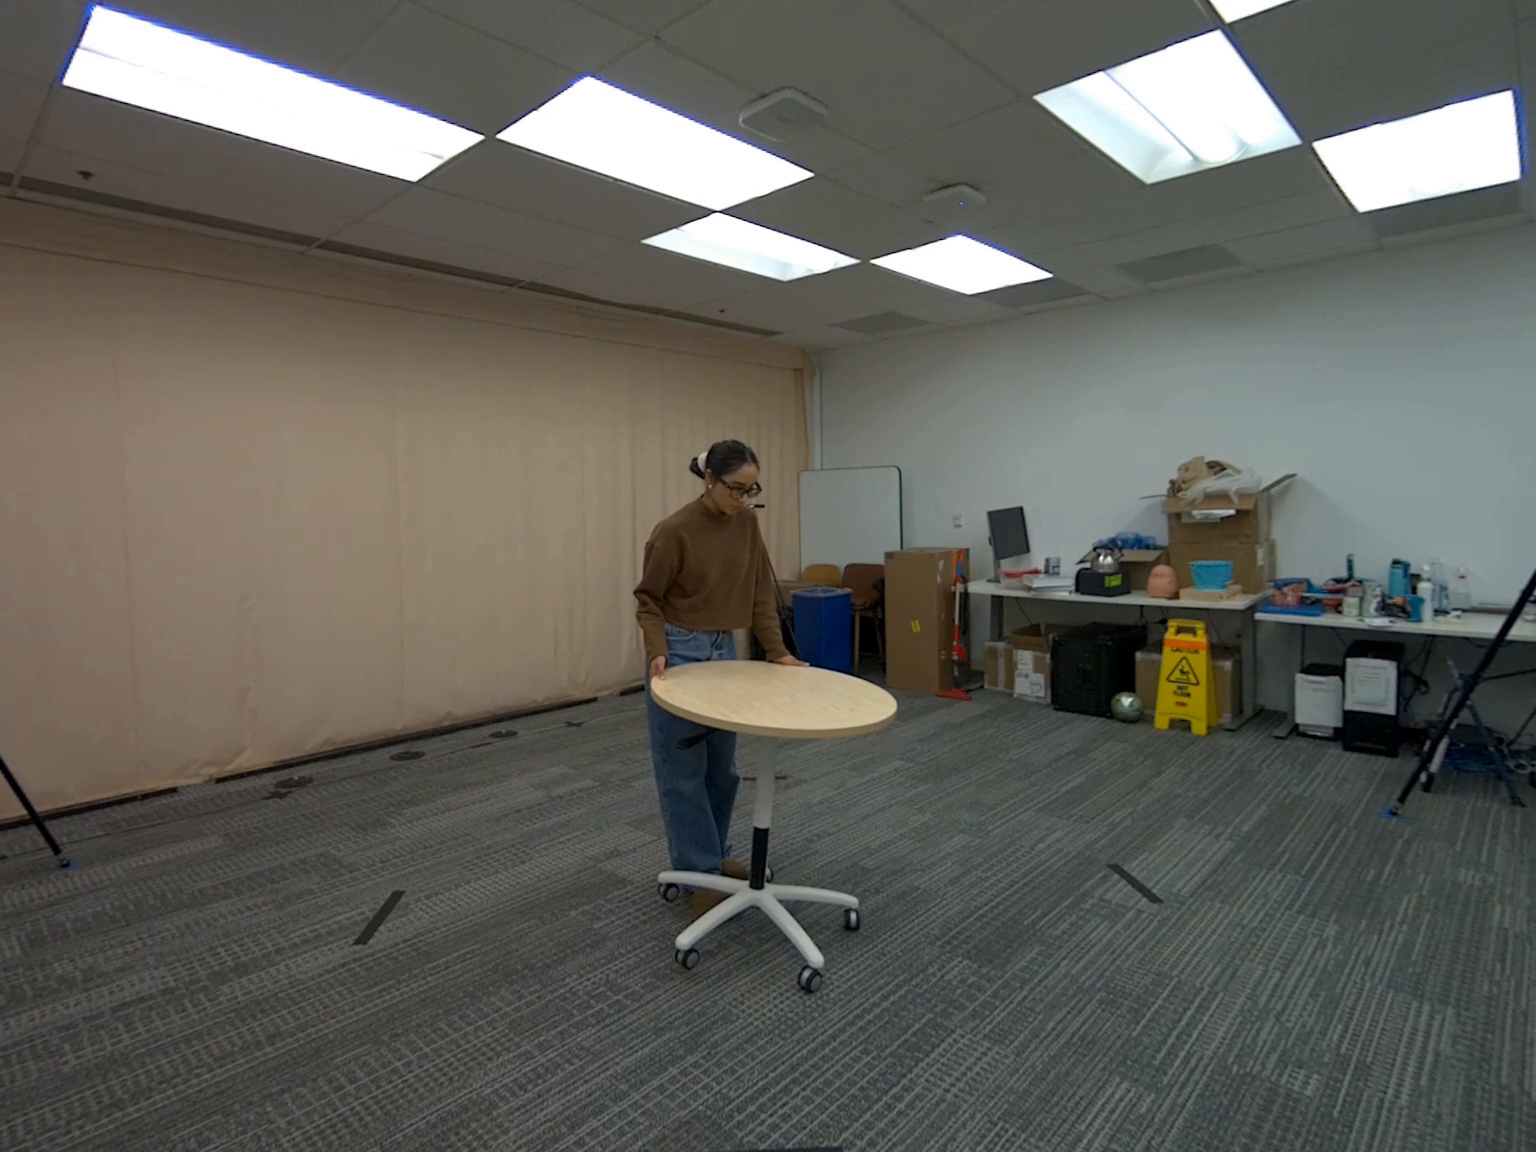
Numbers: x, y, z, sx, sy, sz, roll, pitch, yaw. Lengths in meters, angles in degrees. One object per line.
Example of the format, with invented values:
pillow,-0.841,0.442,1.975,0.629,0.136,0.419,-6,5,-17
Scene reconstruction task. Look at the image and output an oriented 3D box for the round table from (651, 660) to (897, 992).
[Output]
round table,-0.009,0.750,2.667,0.763,0.791,0.768,4,7,-2
